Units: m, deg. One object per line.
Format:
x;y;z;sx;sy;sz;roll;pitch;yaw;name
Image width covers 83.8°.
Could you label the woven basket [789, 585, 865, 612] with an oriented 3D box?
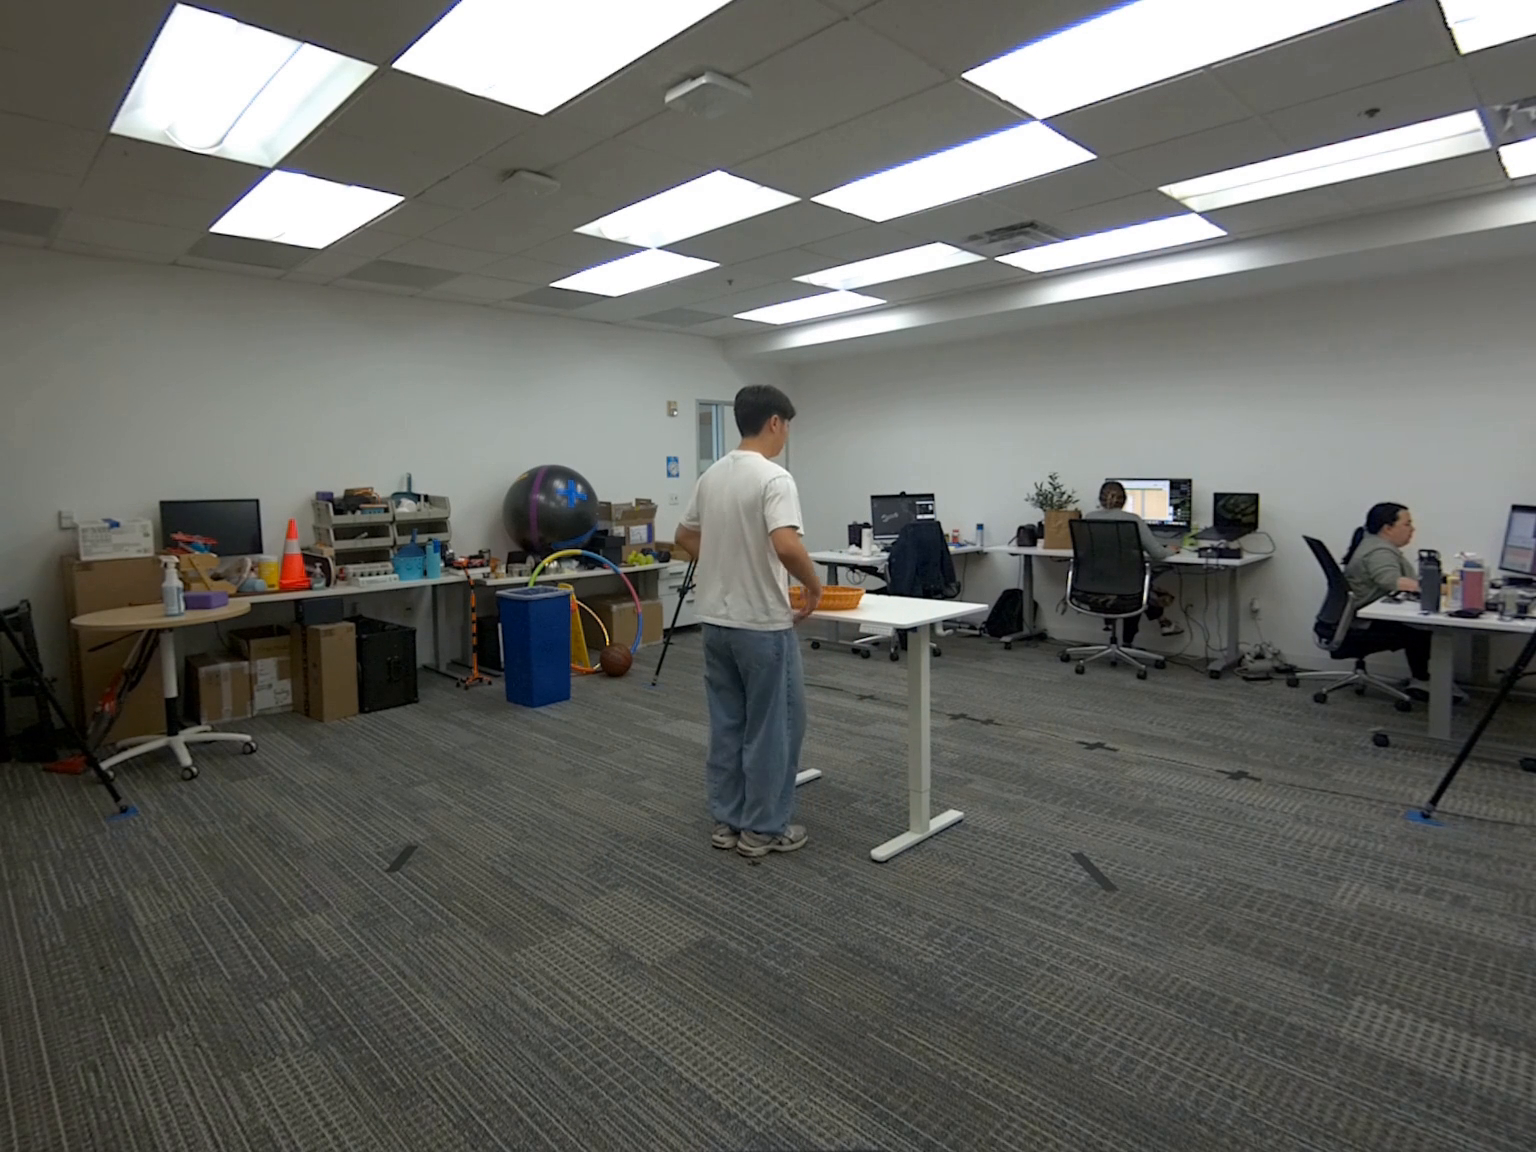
0.214;0.091;3.414;0.357;0.073;0.249;1;7;19;woven basket
